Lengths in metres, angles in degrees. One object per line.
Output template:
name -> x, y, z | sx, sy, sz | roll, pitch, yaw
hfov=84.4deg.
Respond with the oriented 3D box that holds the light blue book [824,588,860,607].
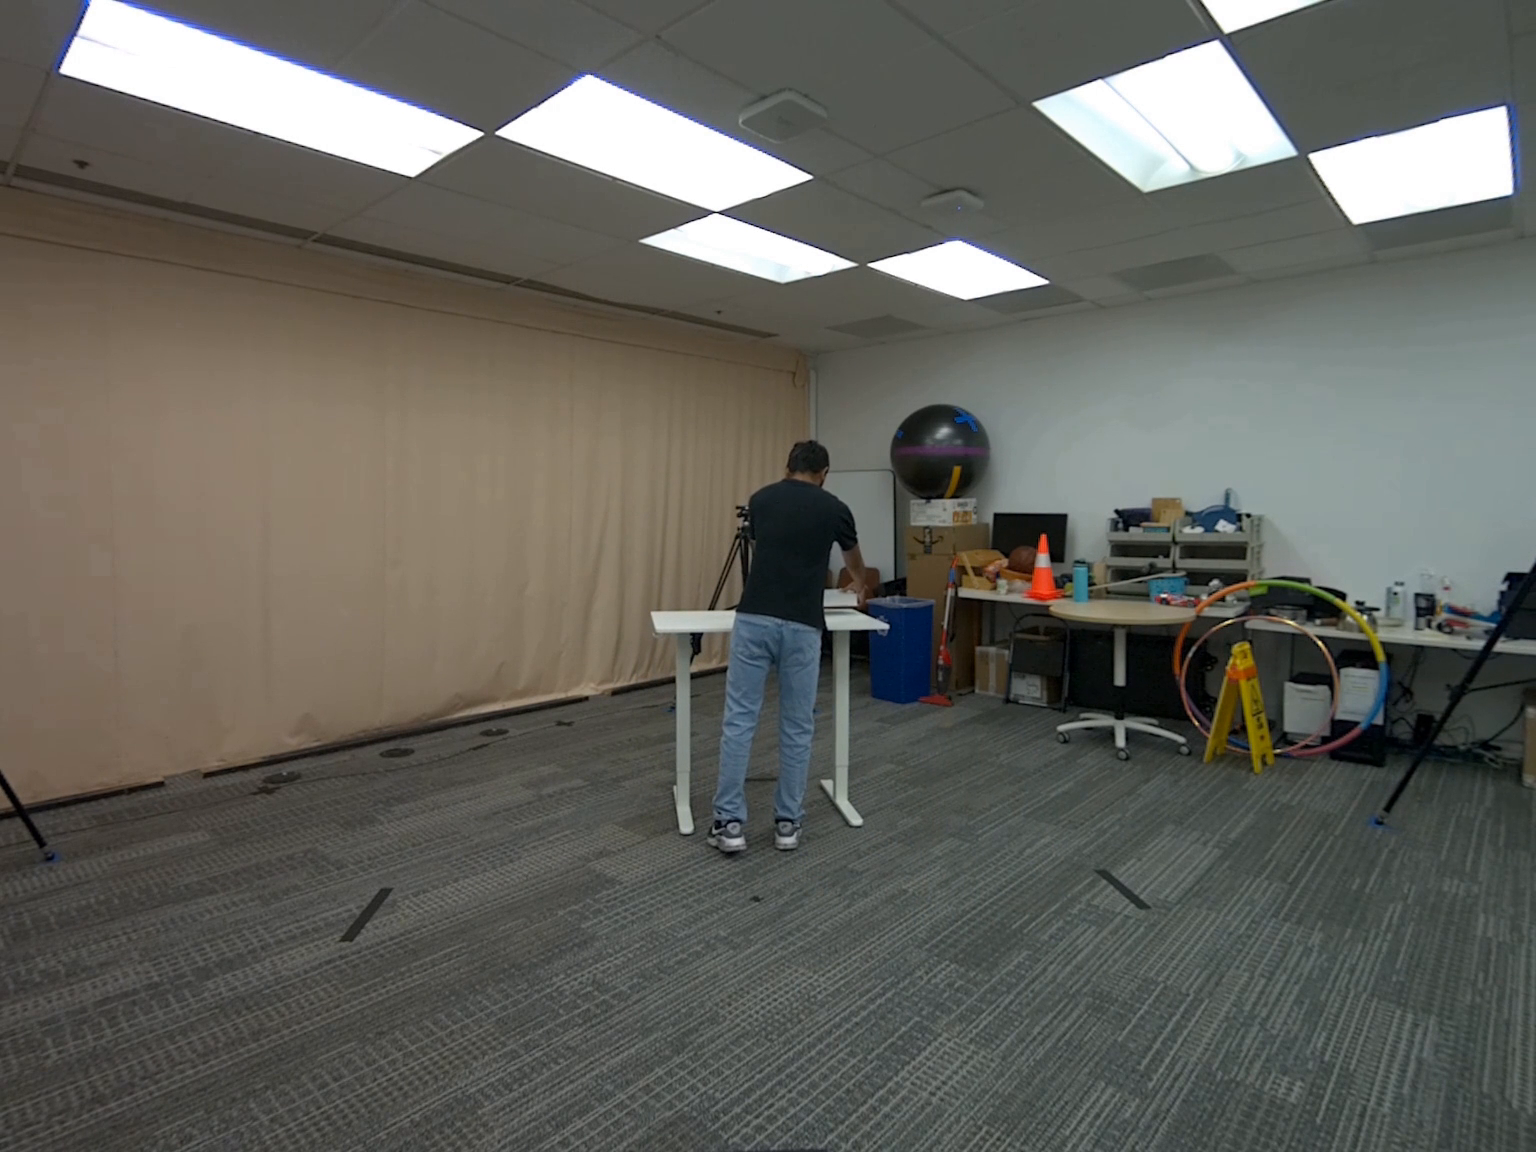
light blue book -> 0.283, 0.102, 4.039 | 0.259, 0.059, 0.193 | -2, 6, -7
